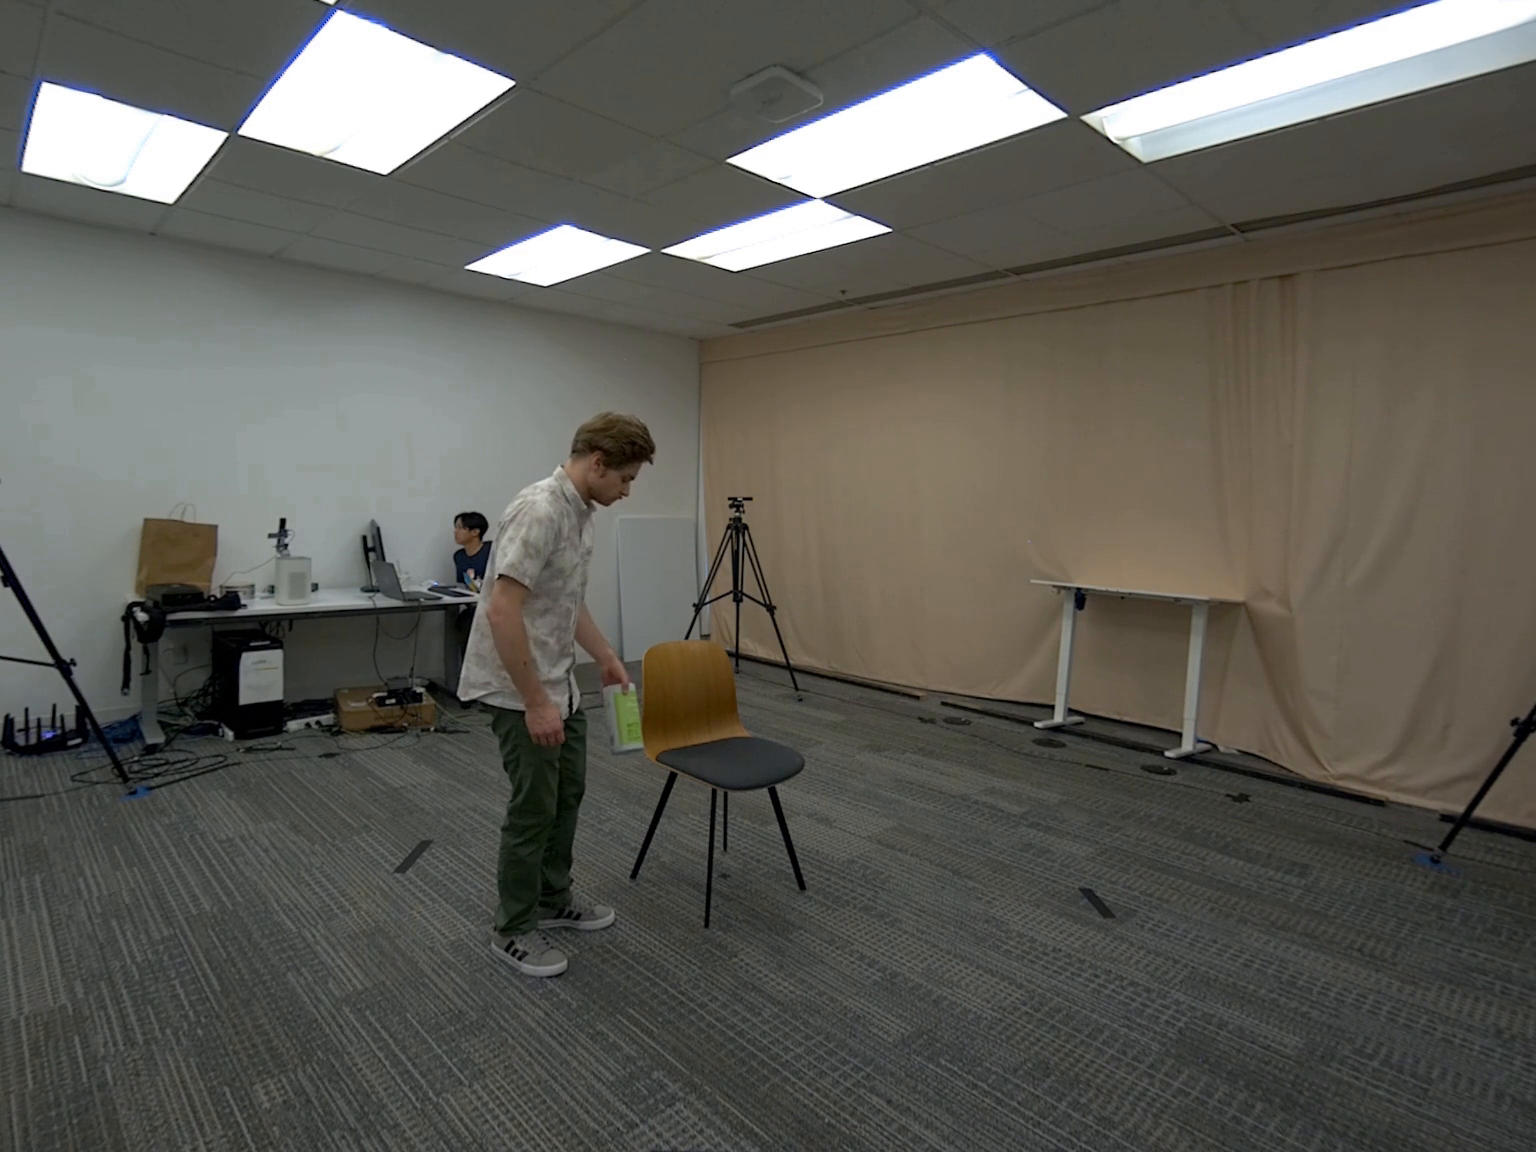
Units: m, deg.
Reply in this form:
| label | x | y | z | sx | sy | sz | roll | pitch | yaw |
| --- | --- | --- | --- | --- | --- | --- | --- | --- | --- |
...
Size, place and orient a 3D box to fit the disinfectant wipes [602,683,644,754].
| label | x | y | z | sx | sy | sz | roll | pitch | yaw |
| --- | --- | --- | --- | --- | --- | --- | --- | --- | --- |
| disinfectant wipes | -0.492 | 0.472 | 2.714 | 0.117 | 0.220 | 0.116 | -6 | -17 | -3 |
